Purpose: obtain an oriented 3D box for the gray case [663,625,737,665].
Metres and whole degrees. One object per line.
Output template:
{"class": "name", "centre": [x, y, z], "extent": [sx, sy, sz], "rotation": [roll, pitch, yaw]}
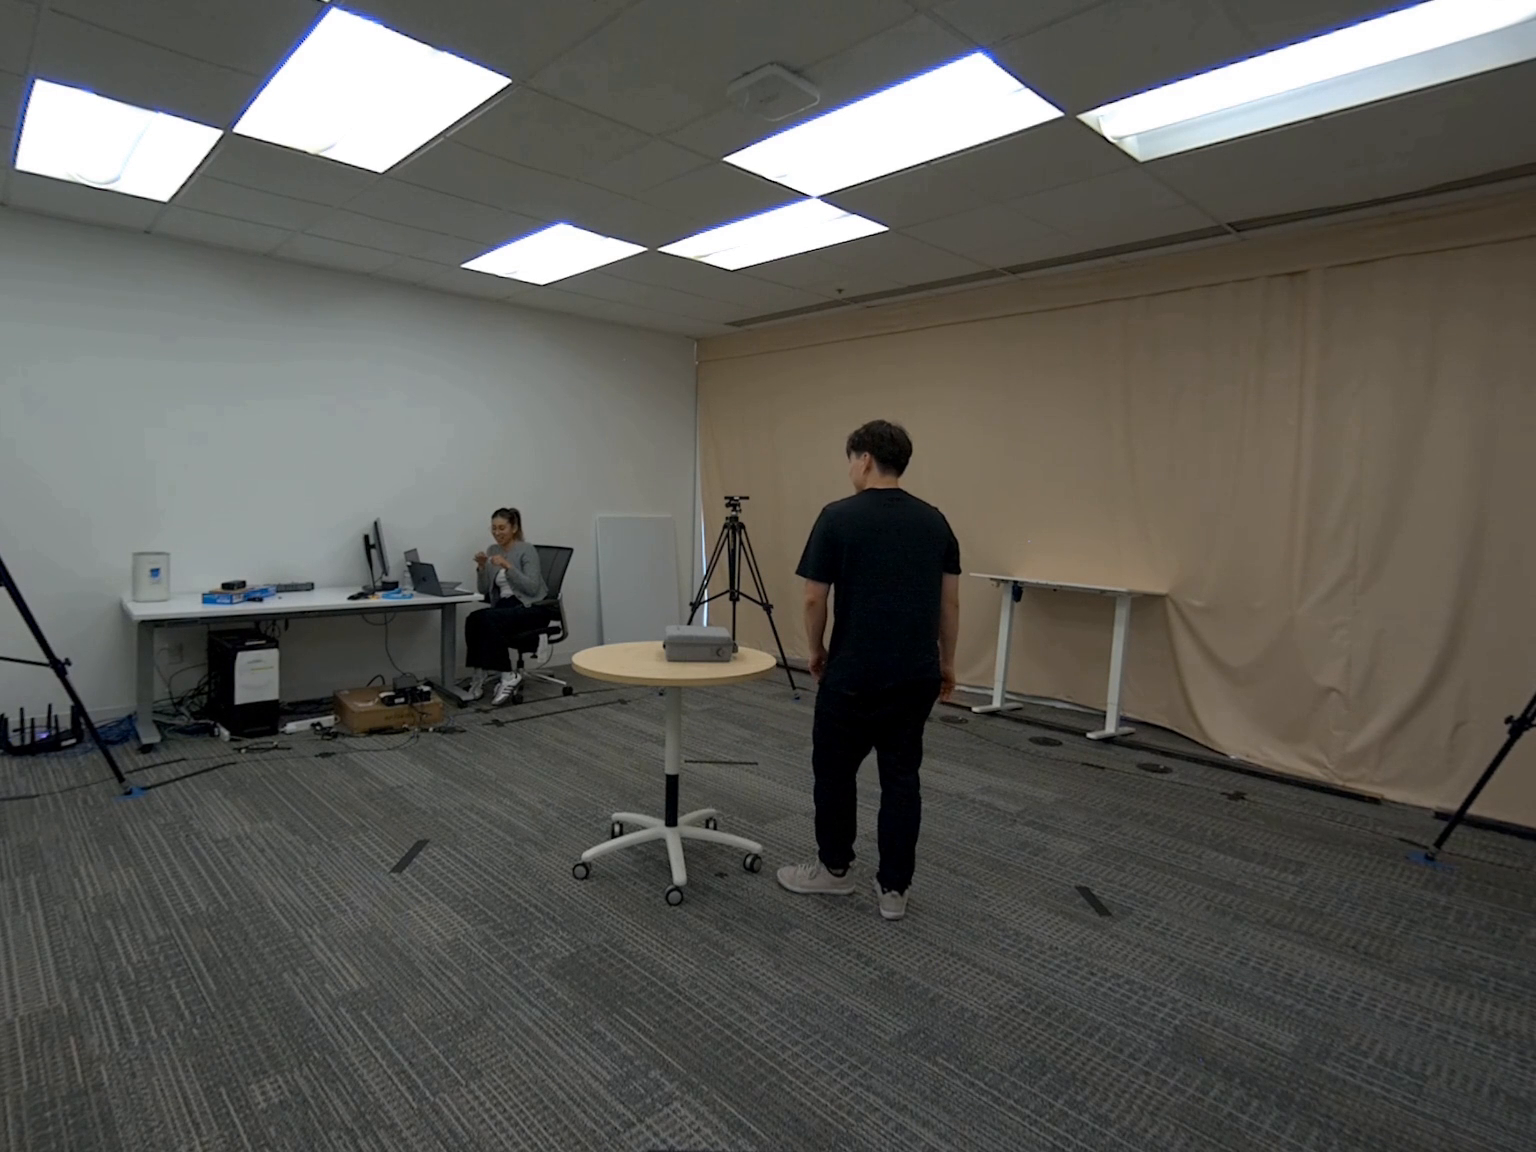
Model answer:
{"class": "gray case", "centre": [-0.264, 0.257, 3.214], "extent": [0.259, 0.104, 0.259], "rotation": [2, 3, -7]}
